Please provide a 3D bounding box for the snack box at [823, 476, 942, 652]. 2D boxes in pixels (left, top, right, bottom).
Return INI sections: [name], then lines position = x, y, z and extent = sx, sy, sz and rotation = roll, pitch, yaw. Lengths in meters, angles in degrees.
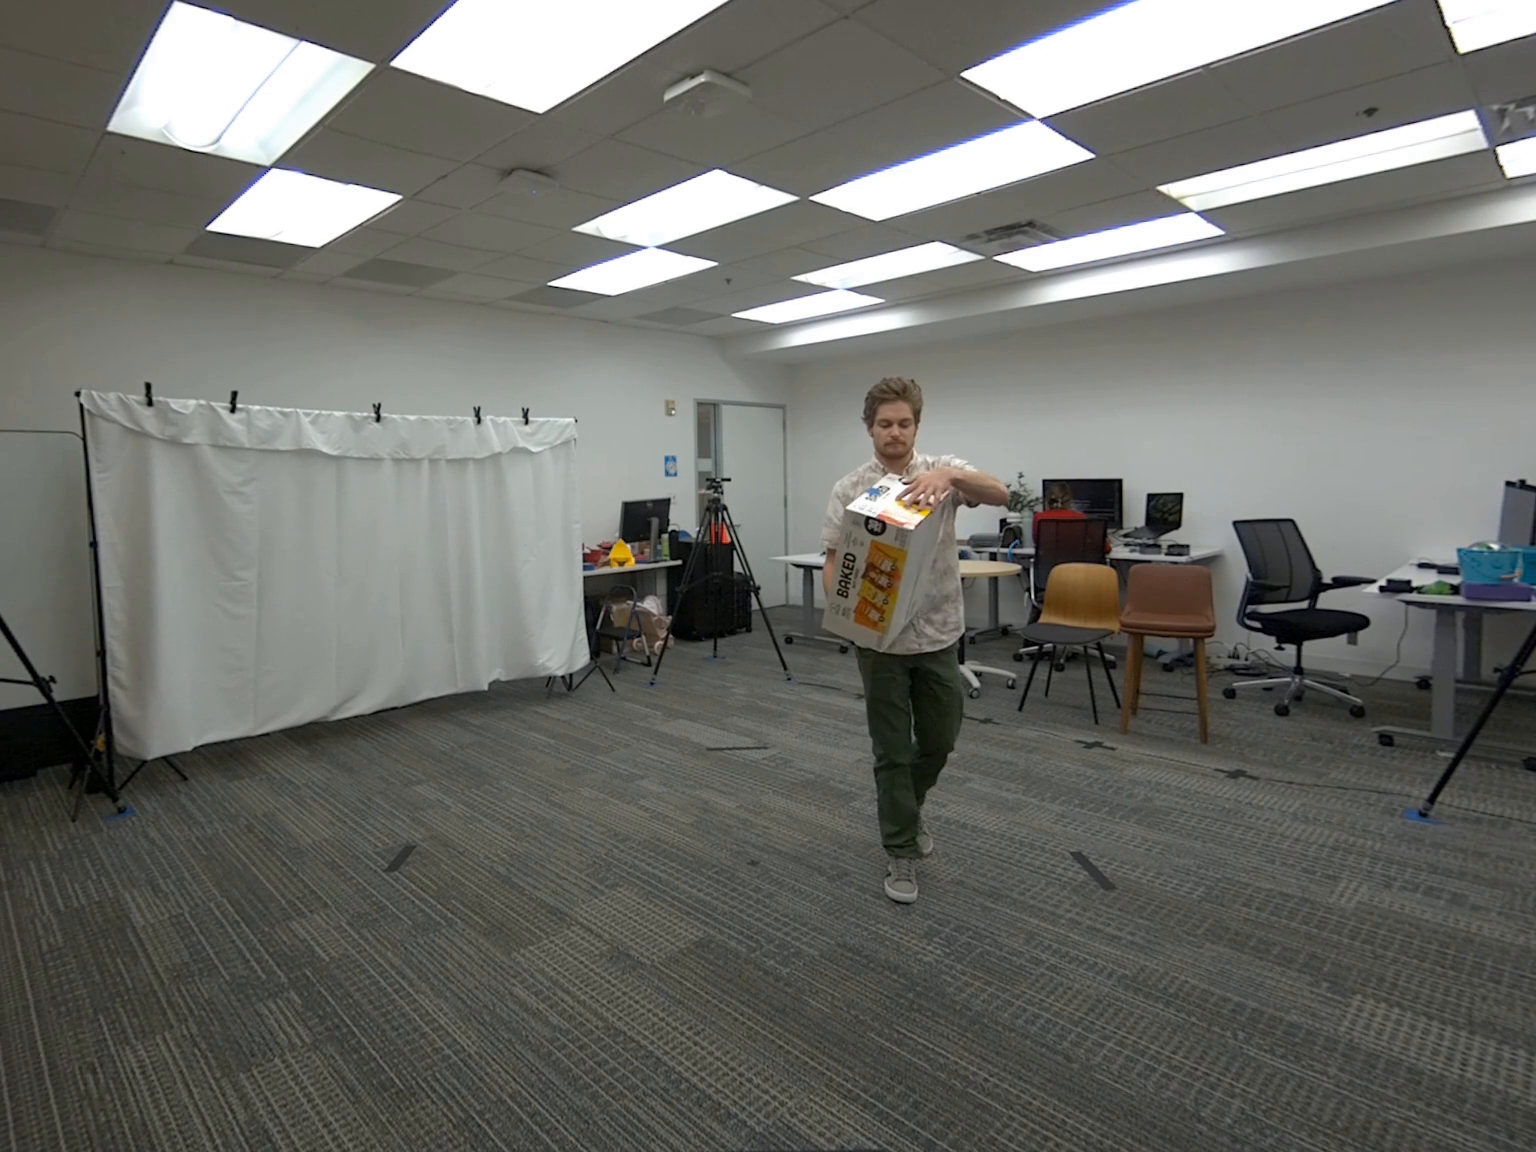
[snack box]
position = 0.349, -0.046, 2.569
extent = 0.211, 0.397, 0.338
rotation = 20, 31, 22
